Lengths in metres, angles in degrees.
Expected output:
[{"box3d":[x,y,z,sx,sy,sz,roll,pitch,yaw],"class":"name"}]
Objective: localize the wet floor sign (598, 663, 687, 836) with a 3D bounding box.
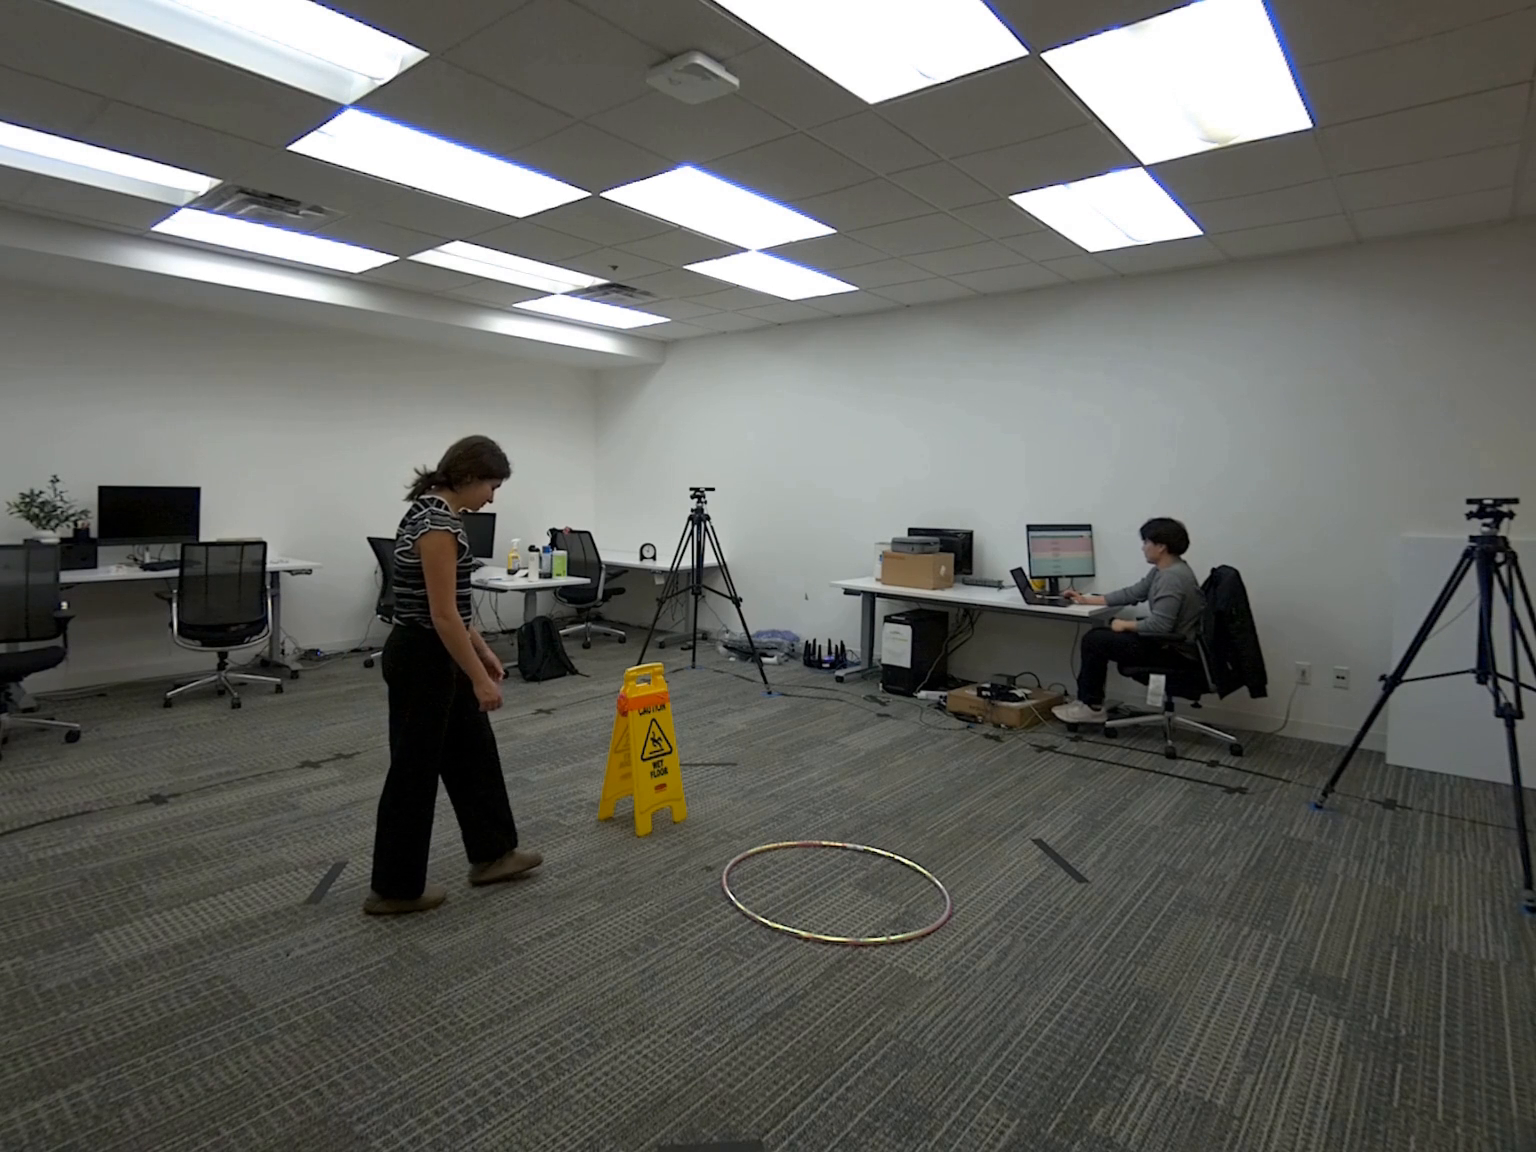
[{"box3d":[-0.529,0.693,3.548,0.299,0.644,0.274,5,5,41],"class":"wet floor sign"}]
